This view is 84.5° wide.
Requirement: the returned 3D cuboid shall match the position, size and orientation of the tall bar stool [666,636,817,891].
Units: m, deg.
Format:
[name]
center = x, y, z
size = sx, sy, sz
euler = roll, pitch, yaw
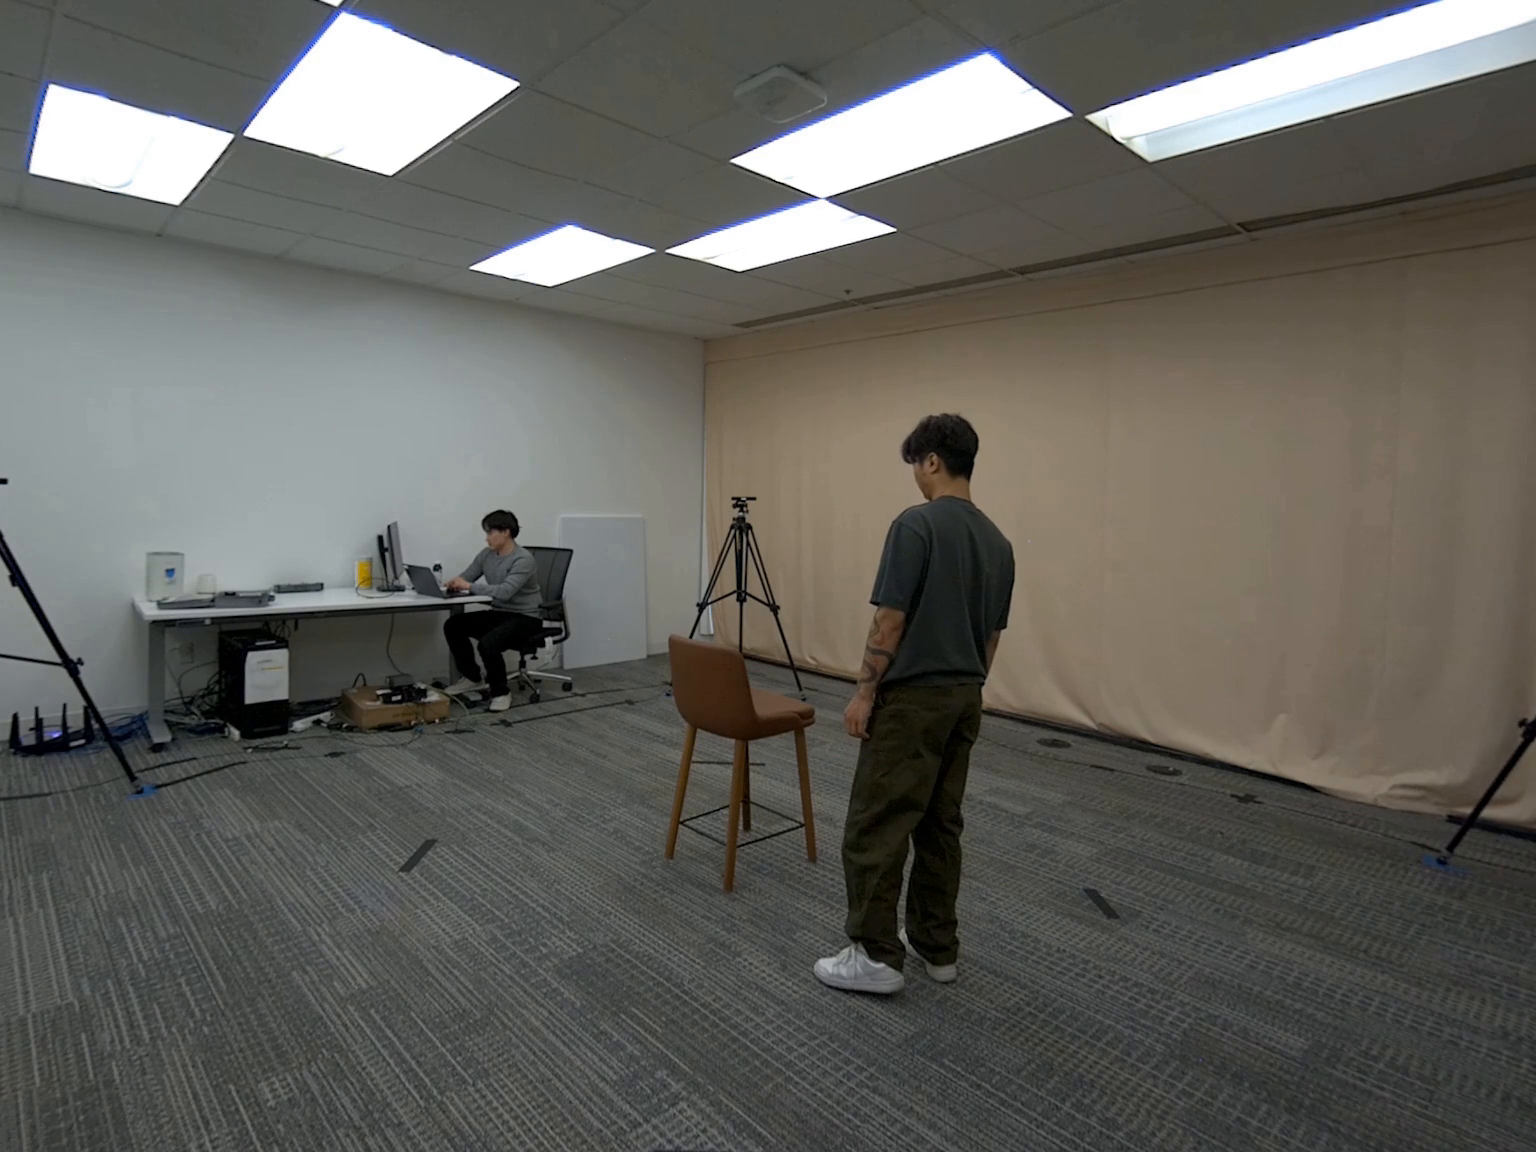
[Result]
[tall bar stool]
center = -0.109, 0.661, 3.228
size = 0.457, 0.887, 0.468
euler = -4, 5, -42
